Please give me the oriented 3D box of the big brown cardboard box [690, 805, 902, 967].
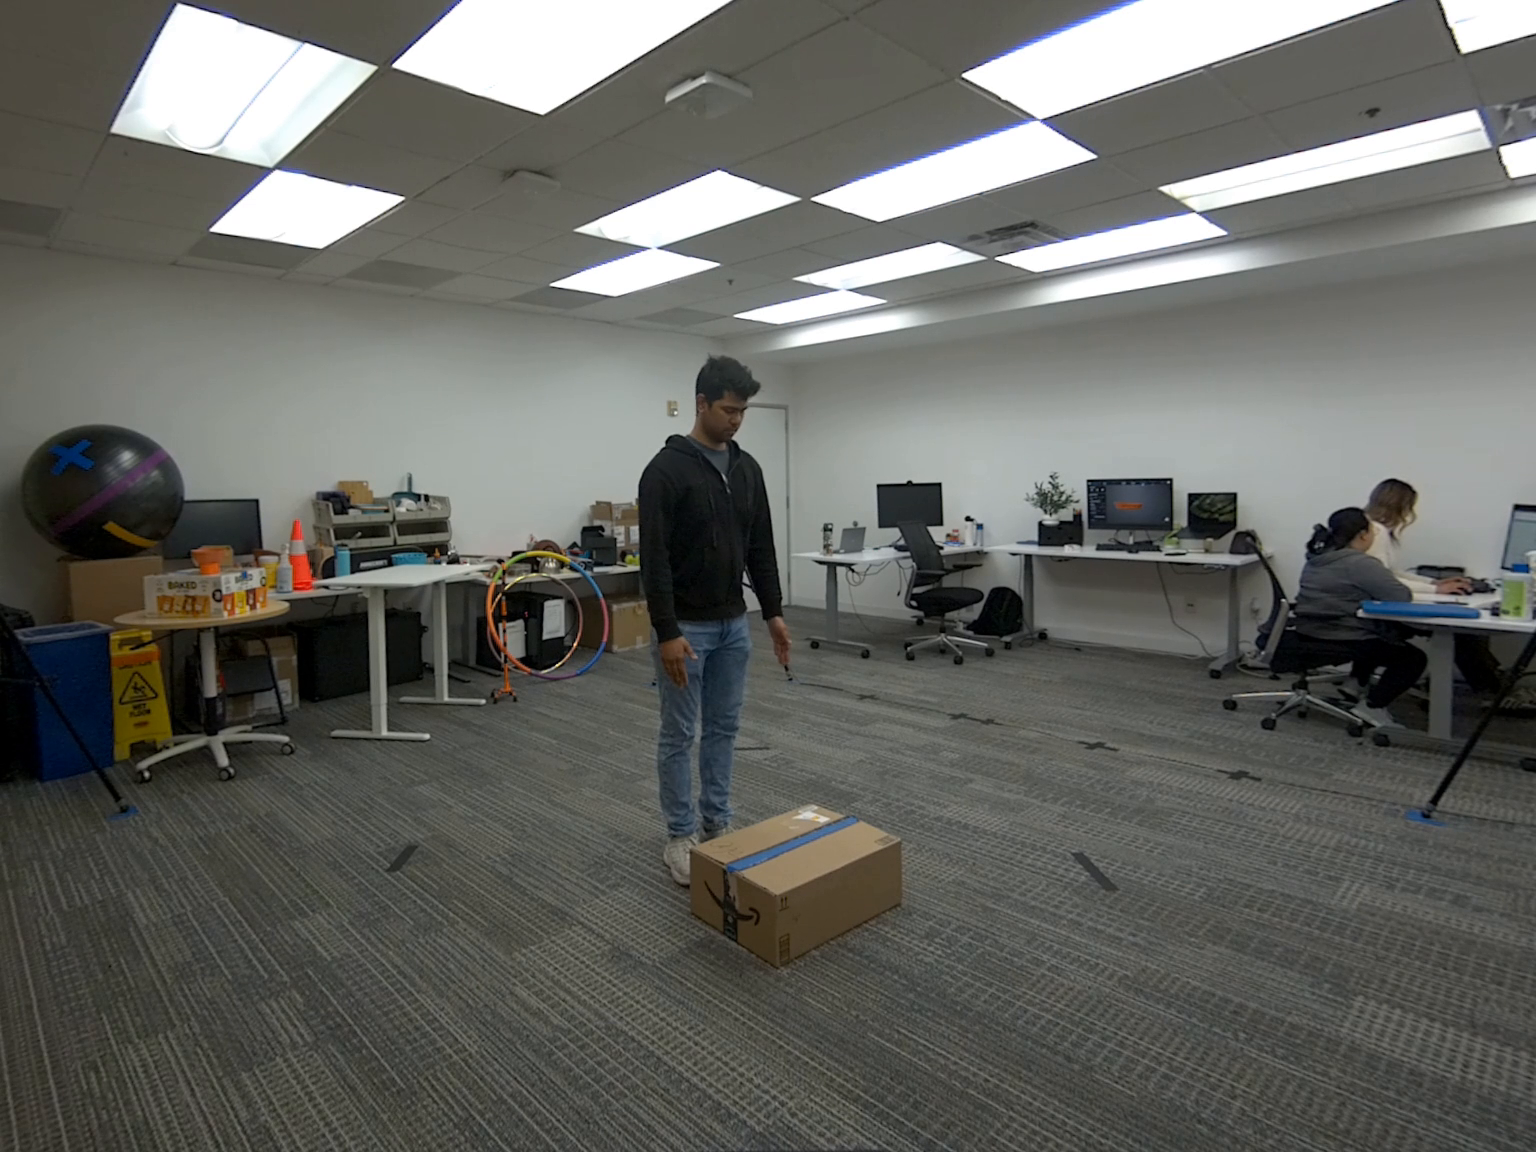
[{"bbox_3d":[0.094,0.975,2.767,0.574,0.232,0.430,-8,9,-41],"label":"big brown cardboard box"}]
